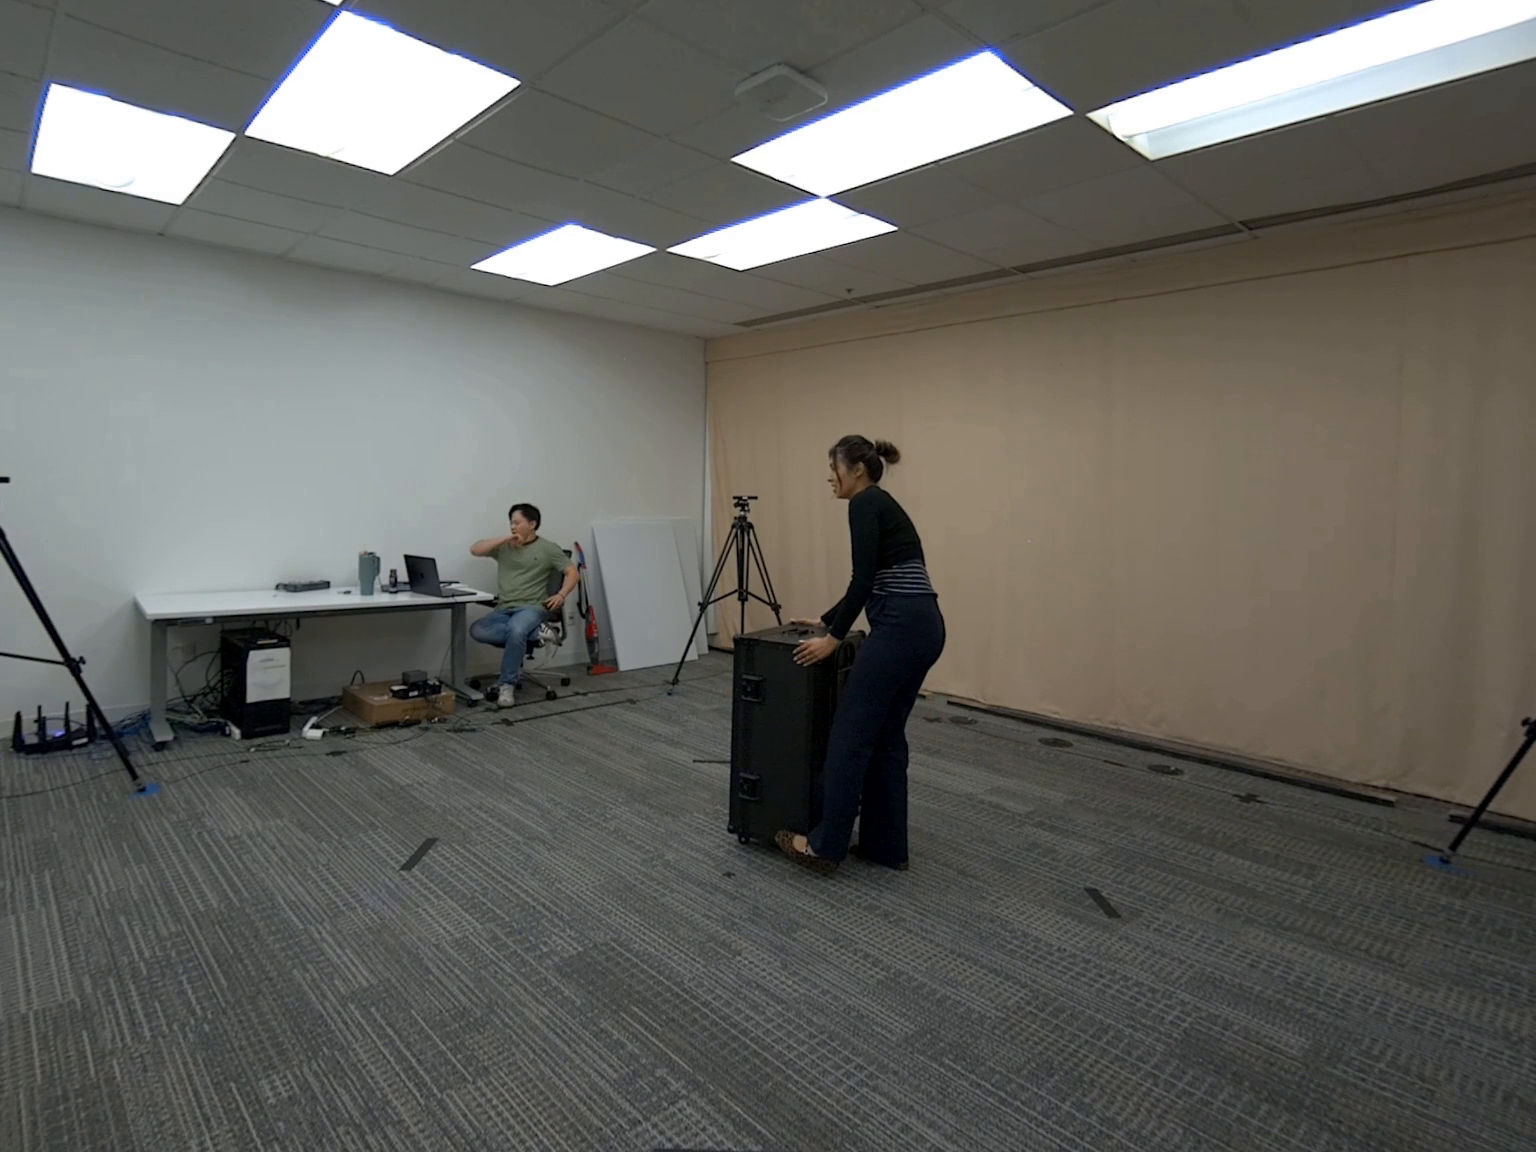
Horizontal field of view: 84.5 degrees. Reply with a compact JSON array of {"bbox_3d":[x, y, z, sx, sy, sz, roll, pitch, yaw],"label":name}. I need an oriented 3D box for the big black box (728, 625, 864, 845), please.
[{"bbox_3d":[0.127,0.656,3.417,0.405,0.859,0.510,5,5,32],"label":"big black box"}]
